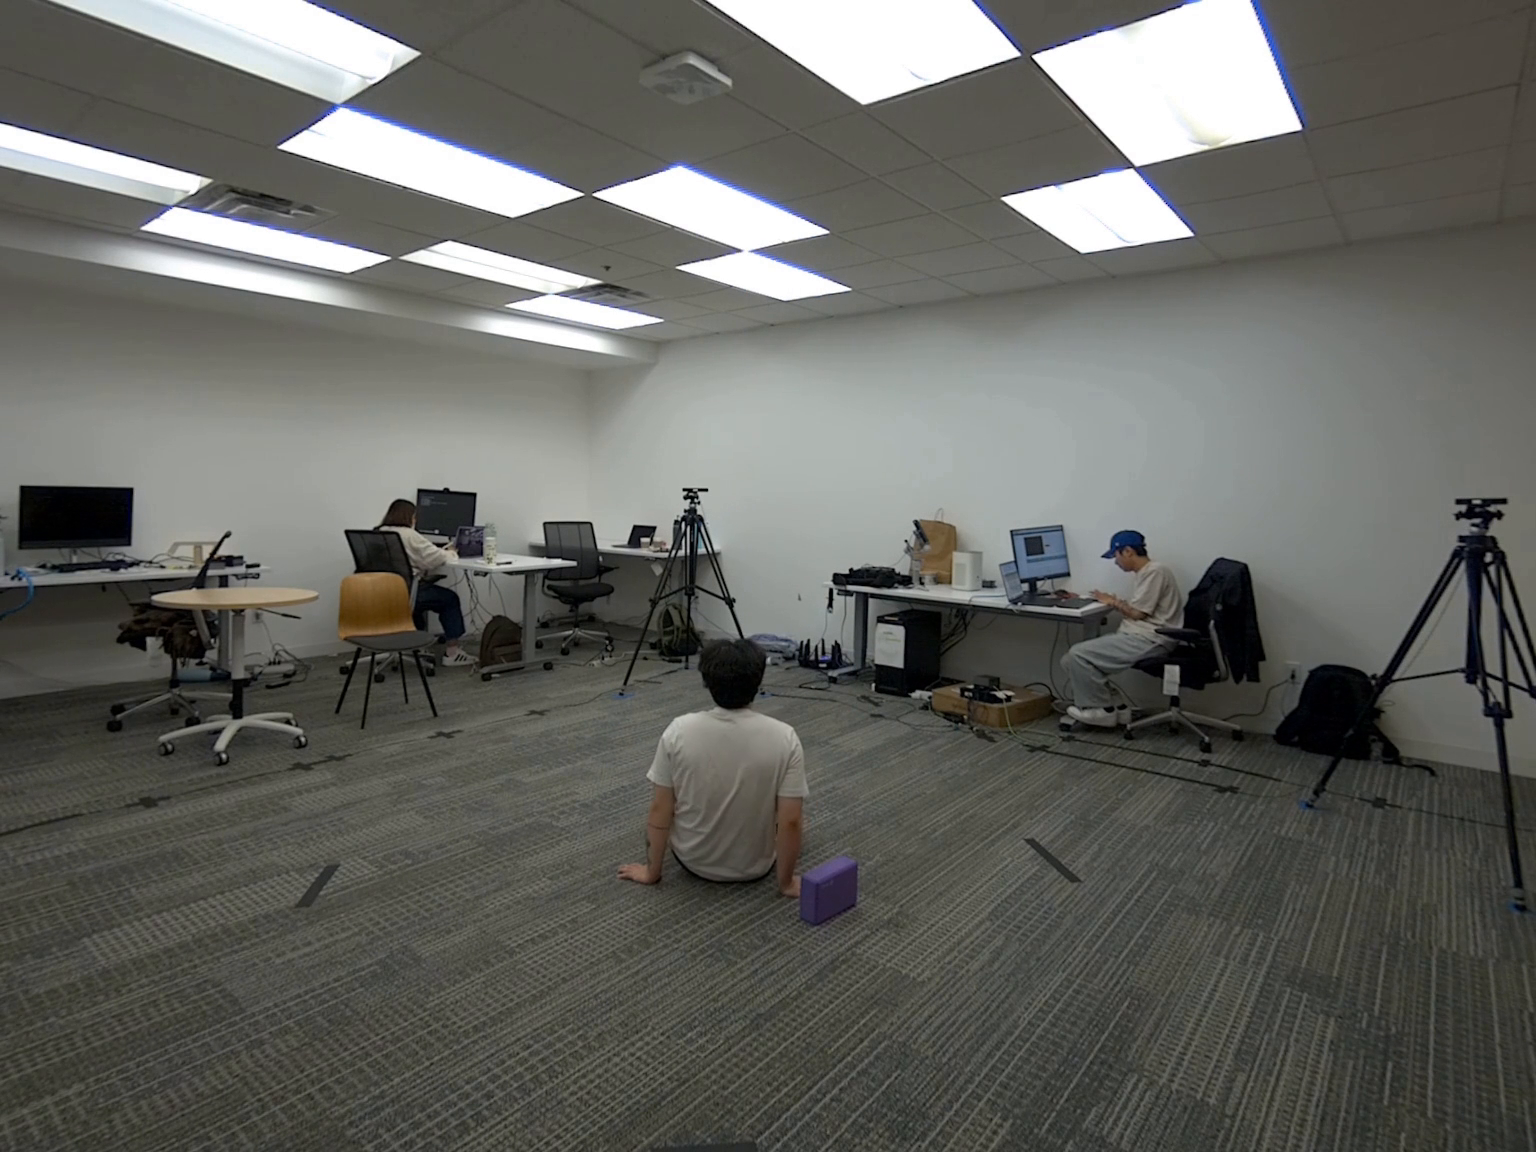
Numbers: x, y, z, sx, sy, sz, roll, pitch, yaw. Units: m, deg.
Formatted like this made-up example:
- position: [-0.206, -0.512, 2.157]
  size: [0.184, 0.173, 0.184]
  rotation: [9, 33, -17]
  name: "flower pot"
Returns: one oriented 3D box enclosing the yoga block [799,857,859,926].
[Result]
- position: [0.199, 1.030, 2.814]
  size: [0.222, 0.148, 0.079]
  rotation: [-1, 5, -42]
  name: "yoga block"
